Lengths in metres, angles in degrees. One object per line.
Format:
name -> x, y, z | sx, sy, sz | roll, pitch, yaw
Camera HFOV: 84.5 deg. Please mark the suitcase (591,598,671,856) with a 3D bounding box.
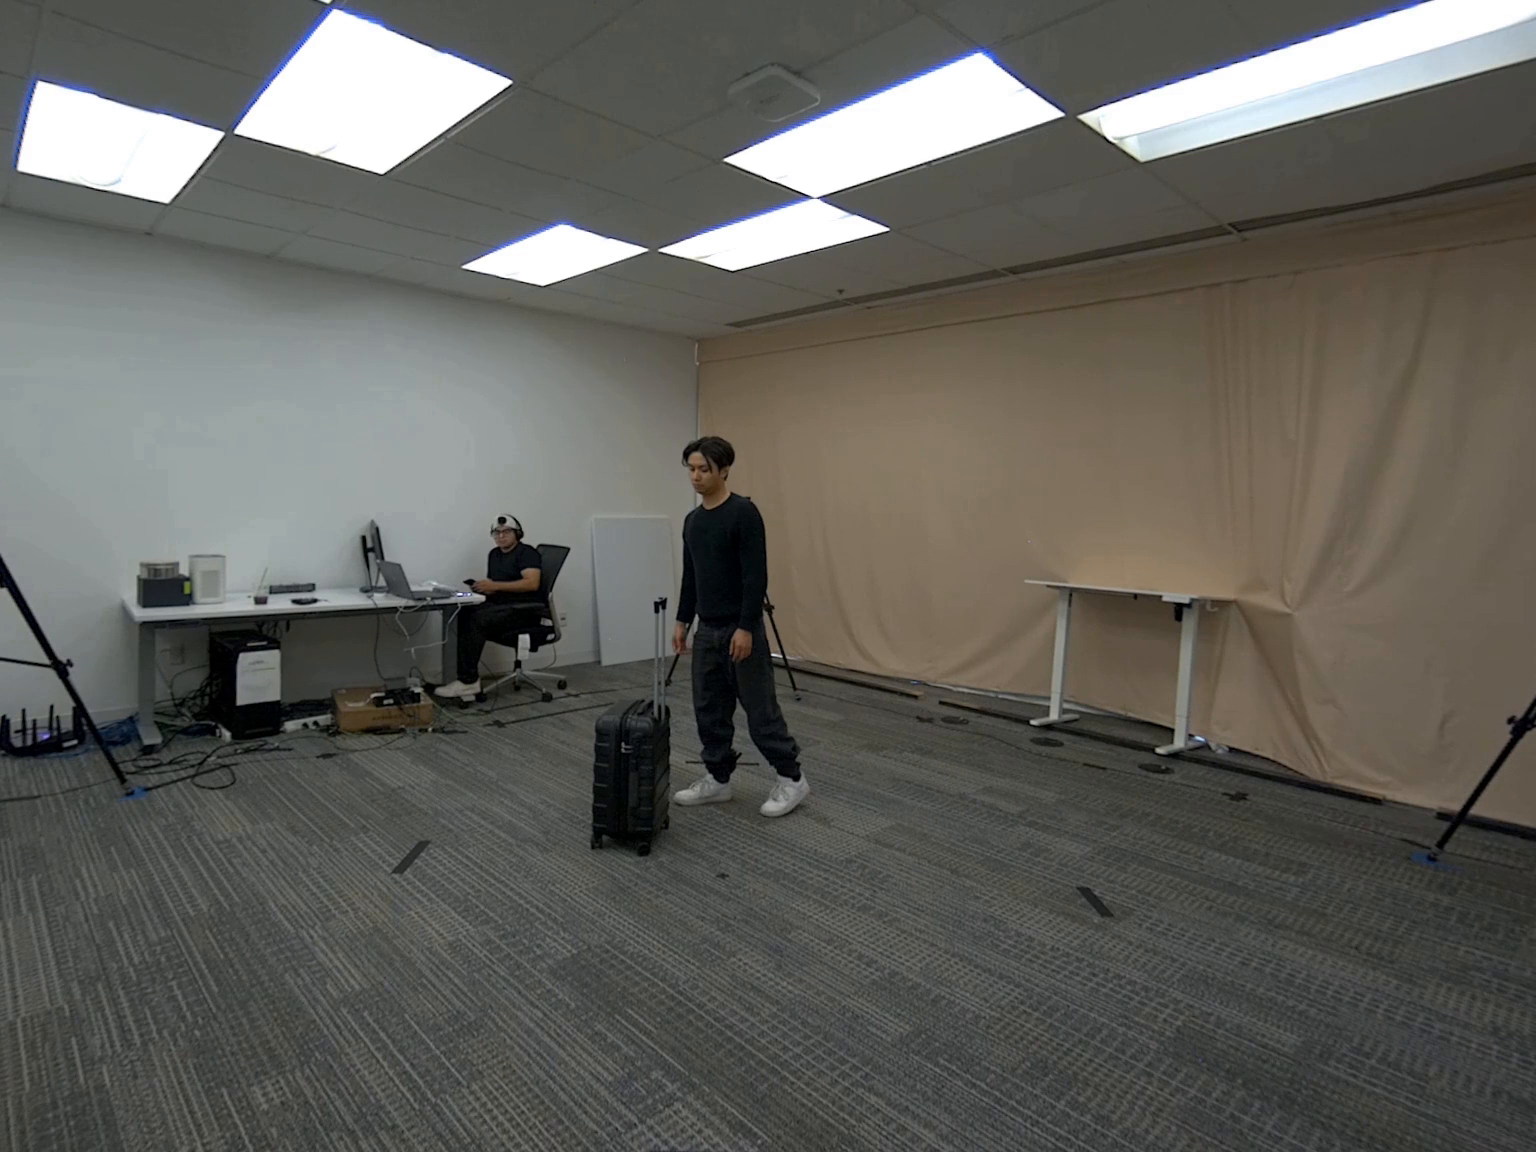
suitcase -> -0.559, 0.592, 3.418 | 0.258, 0.977, 0.382 | 0, 2, 6
